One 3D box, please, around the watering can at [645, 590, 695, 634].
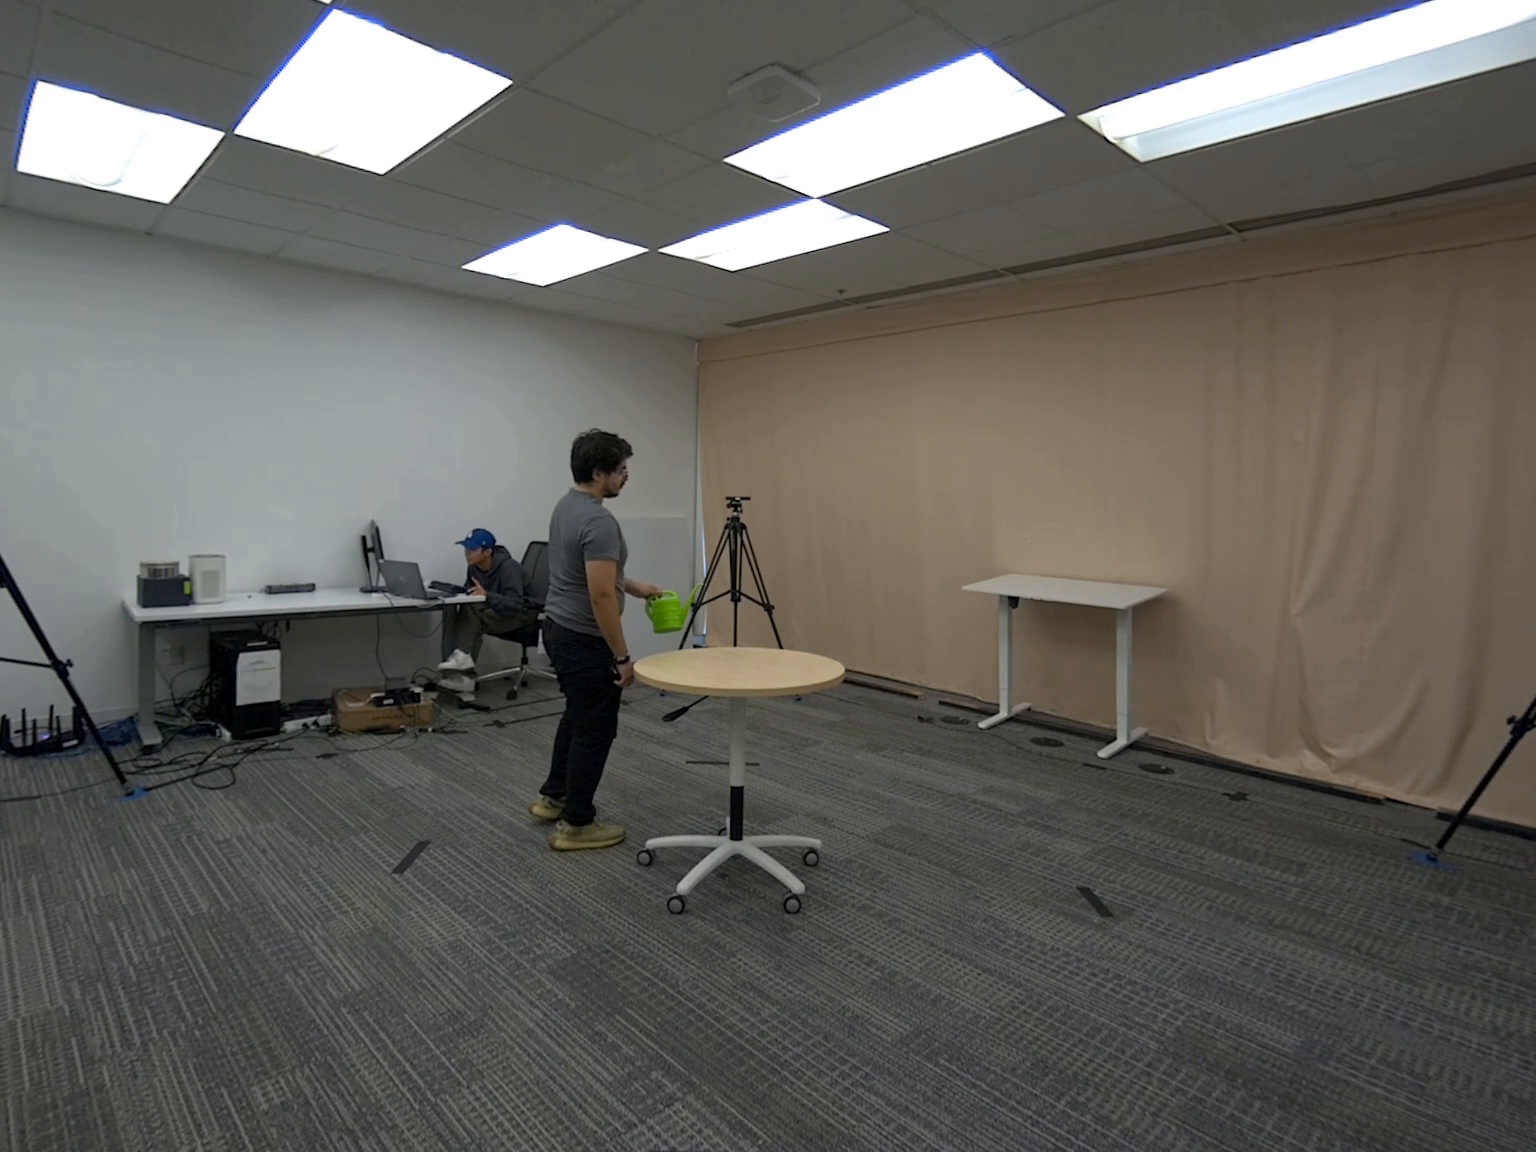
[{"bbox_3d":[-0.410,0.143,3.569,0.282,0.178,0.096,-15,-11,24],"label":"watering can"}]
